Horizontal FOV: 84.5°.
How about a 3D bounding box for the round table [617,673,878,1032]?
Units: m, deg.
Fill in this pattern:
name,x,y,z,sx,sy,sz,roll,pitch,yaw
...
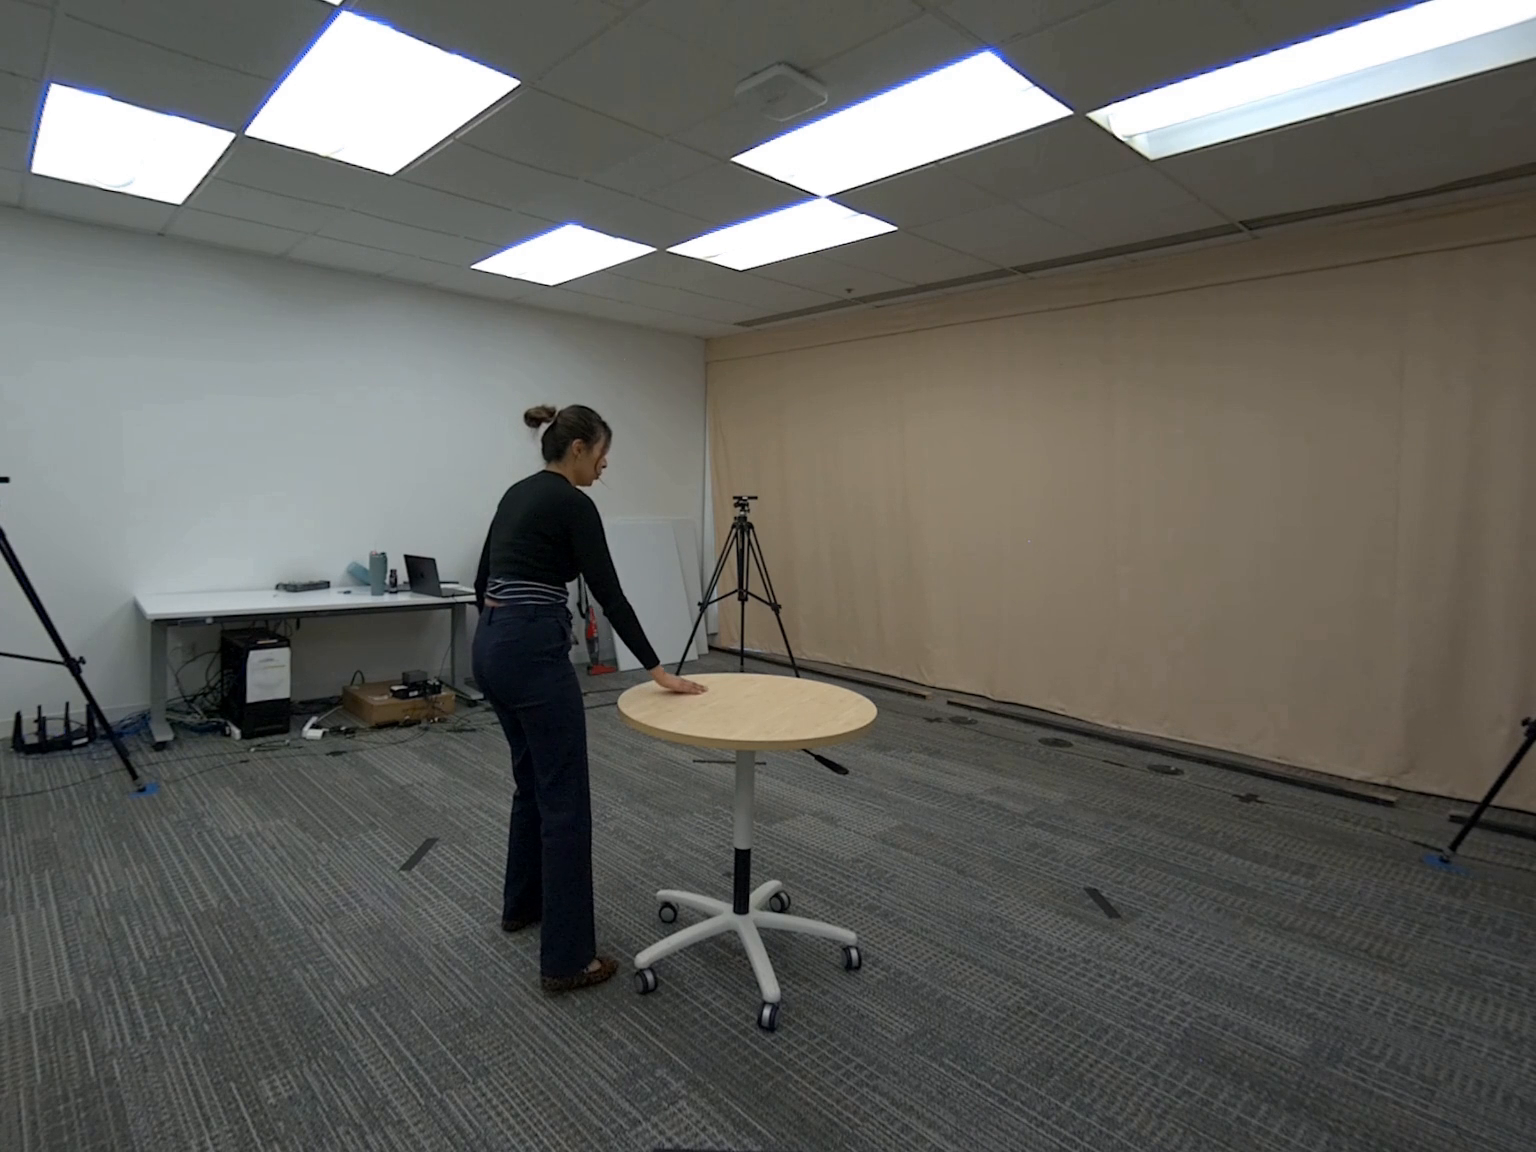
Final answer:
name,x,y,z,sx,sy,sz,roll,pitch,yaw
round table,-0.081,0.771,2.526,0.763,0.791,0.767,2,5,-1
